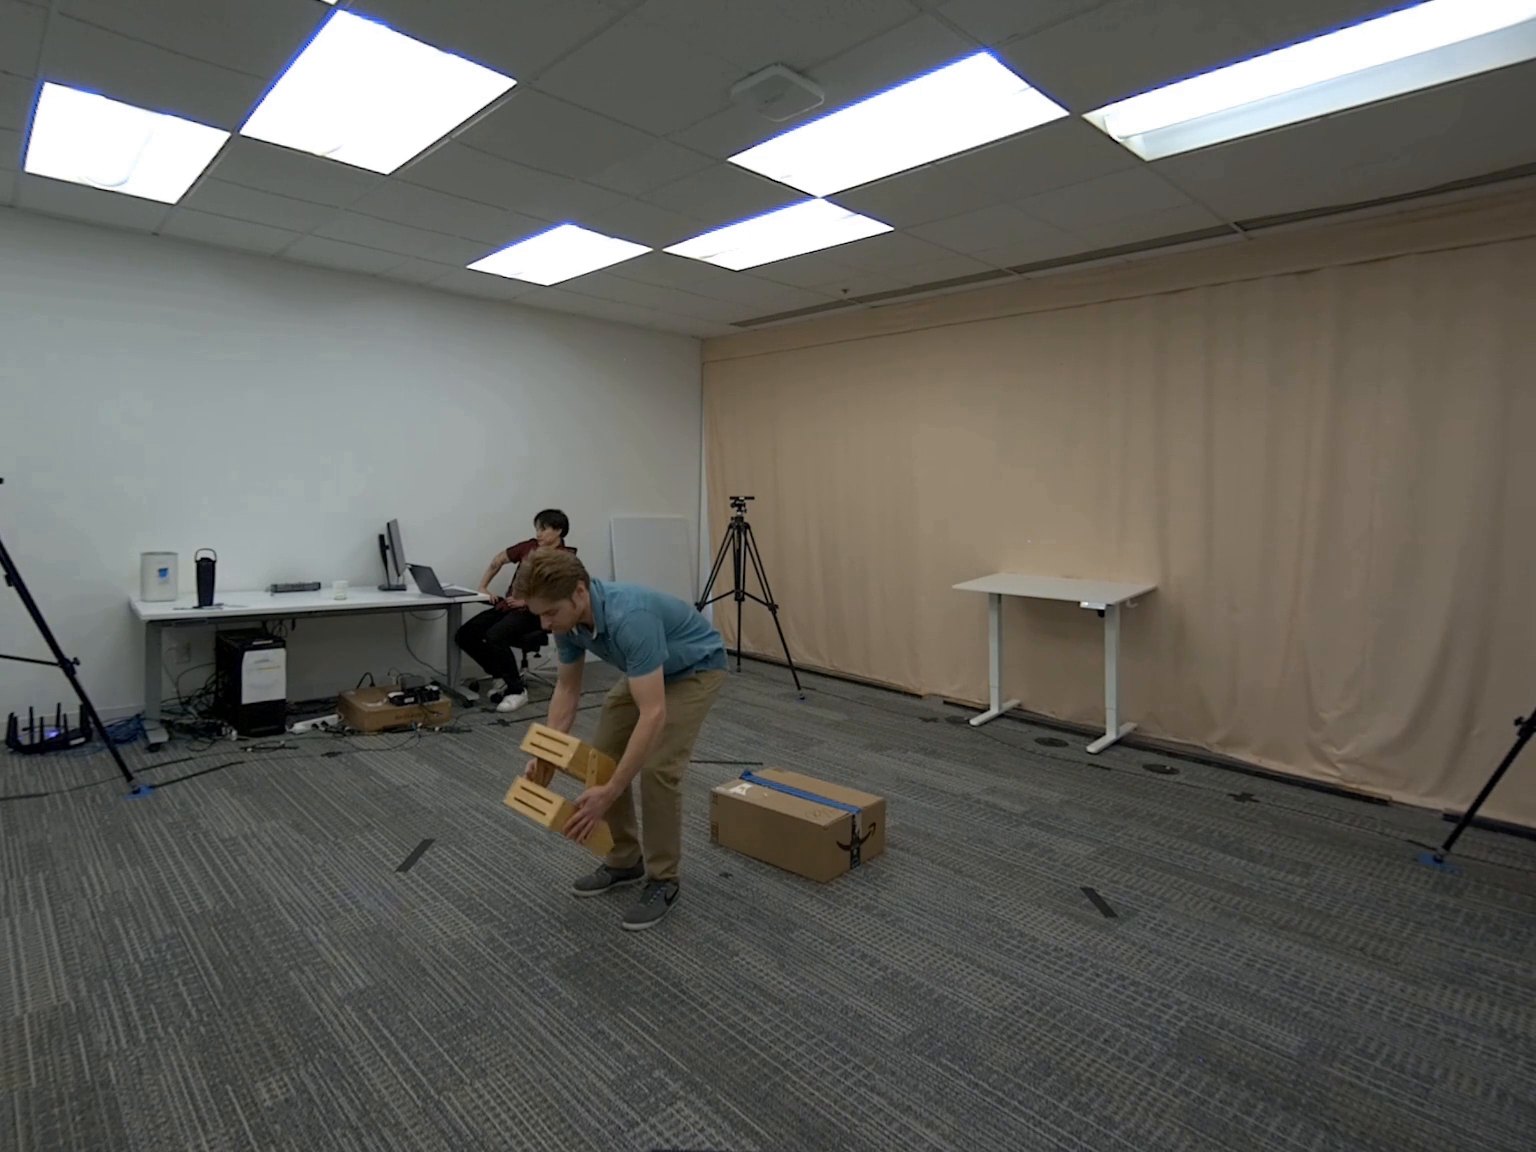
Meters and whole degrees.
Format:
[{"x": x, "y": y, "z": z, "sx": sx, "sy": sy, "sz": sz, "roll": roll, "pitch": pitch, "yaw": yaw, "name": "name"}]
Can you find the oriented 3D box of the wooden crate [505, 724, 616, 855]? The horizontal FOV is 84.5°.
[{"x": -0.637, "y": 0.670, "z": 2.686, "sx": 0.333, "sy": 0.275, "sz": 0.293, "roll": 5, "pitch": -29, "yaw": 47, "name": "wooden crate"}]
